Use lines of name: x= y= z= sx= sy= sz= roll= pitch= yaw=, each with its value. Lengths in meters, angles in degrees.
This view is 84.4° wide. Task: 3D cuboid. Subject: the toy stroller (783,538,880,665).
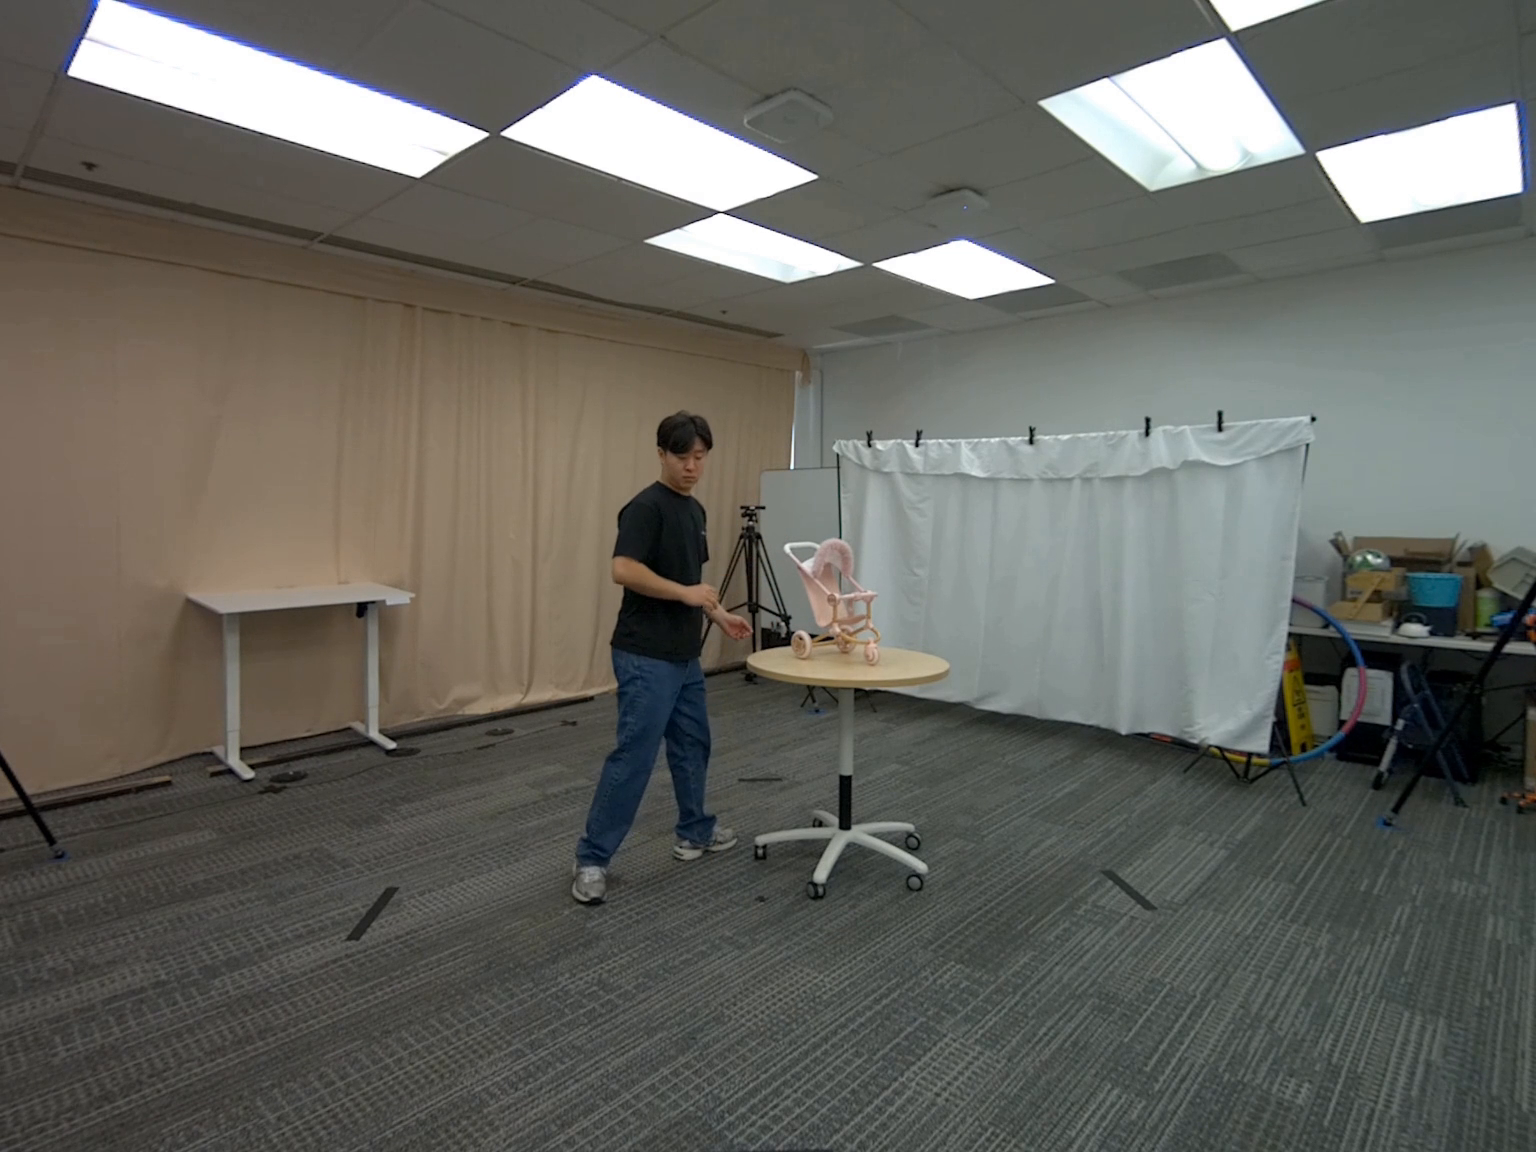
toy stroller: x=0.271 y=0.098 z=3.276 sx=0.273 sy=0.538 sz=0.349 roll=-2 pitch=-10 yaw=-35
